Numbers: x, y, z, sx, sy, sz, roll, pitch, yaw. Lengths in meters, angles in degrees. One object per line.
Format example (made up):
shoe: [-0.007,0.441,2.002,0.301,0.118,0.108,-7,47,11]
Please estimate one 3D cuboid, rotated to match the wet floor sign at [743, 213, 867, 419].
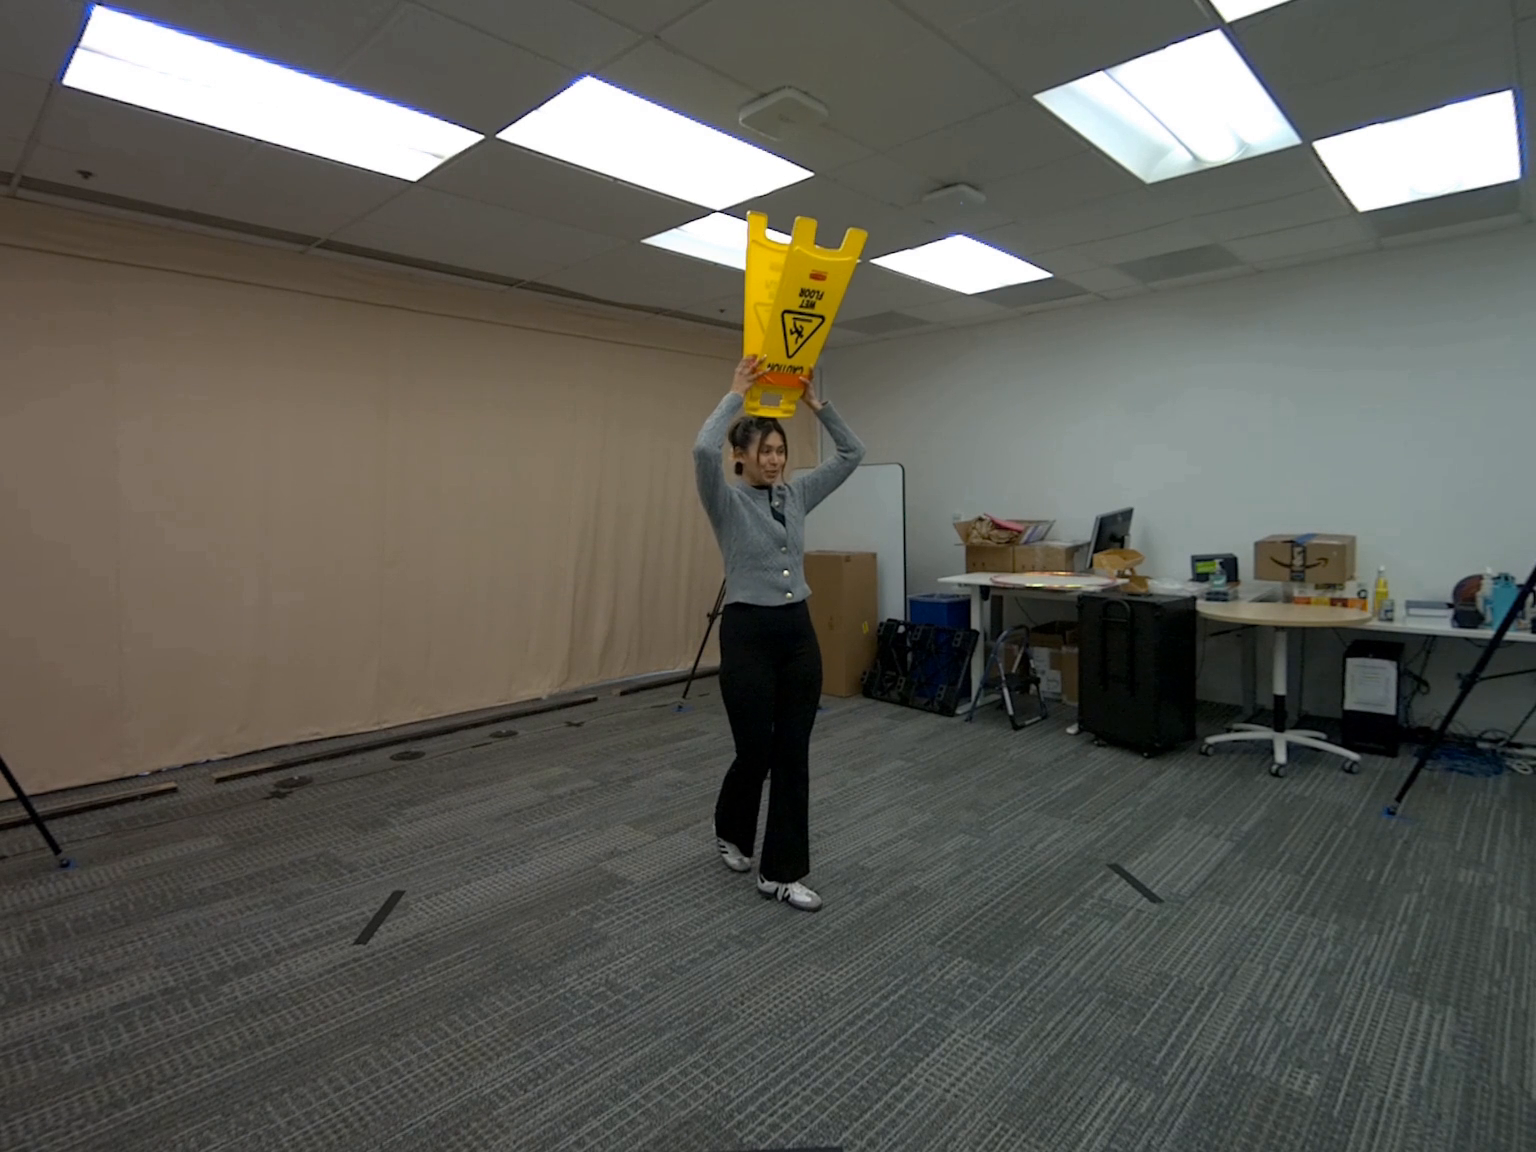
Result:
wet floor sign: [0.064,-0.852,2.829,0.274,0.641,0.300,-1,24,-34]
